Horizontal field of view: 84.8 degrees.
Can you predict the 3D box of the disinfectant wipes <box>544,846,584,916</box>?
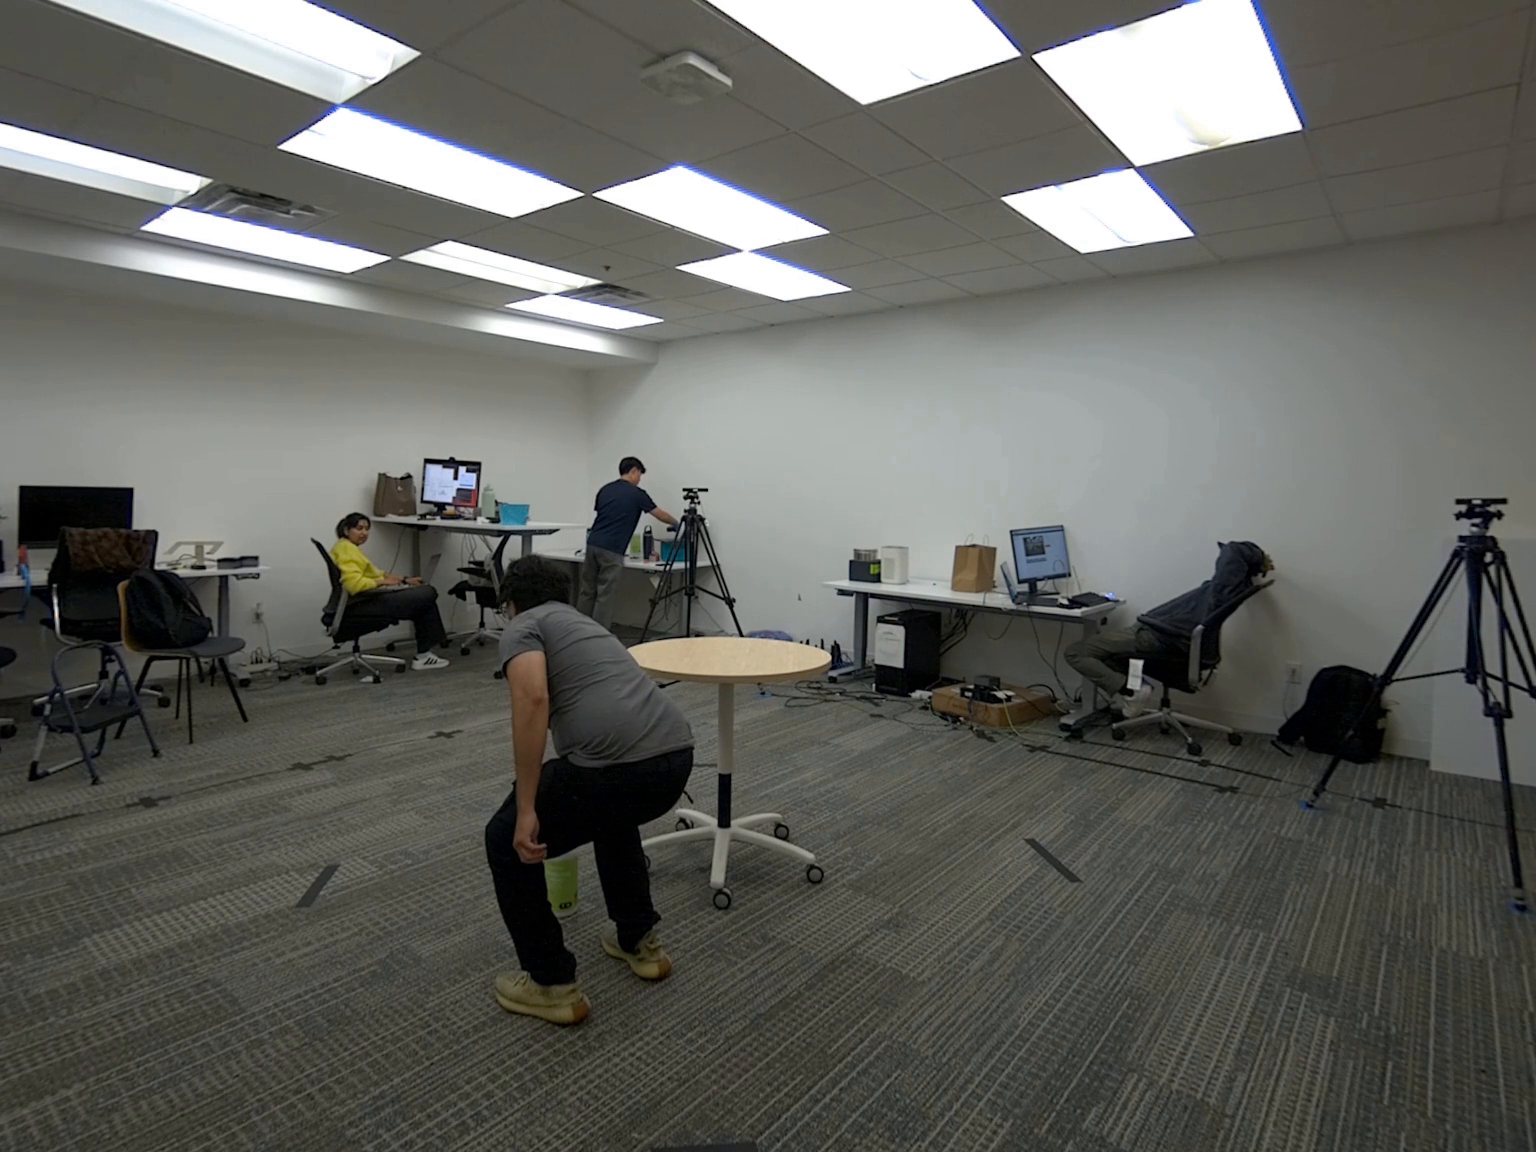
[{"bbox_3d":[-0.682,0.983,2.780,0.118,0.217,0.118,2,2,-2],"label":"disinfectant wipes"}]
